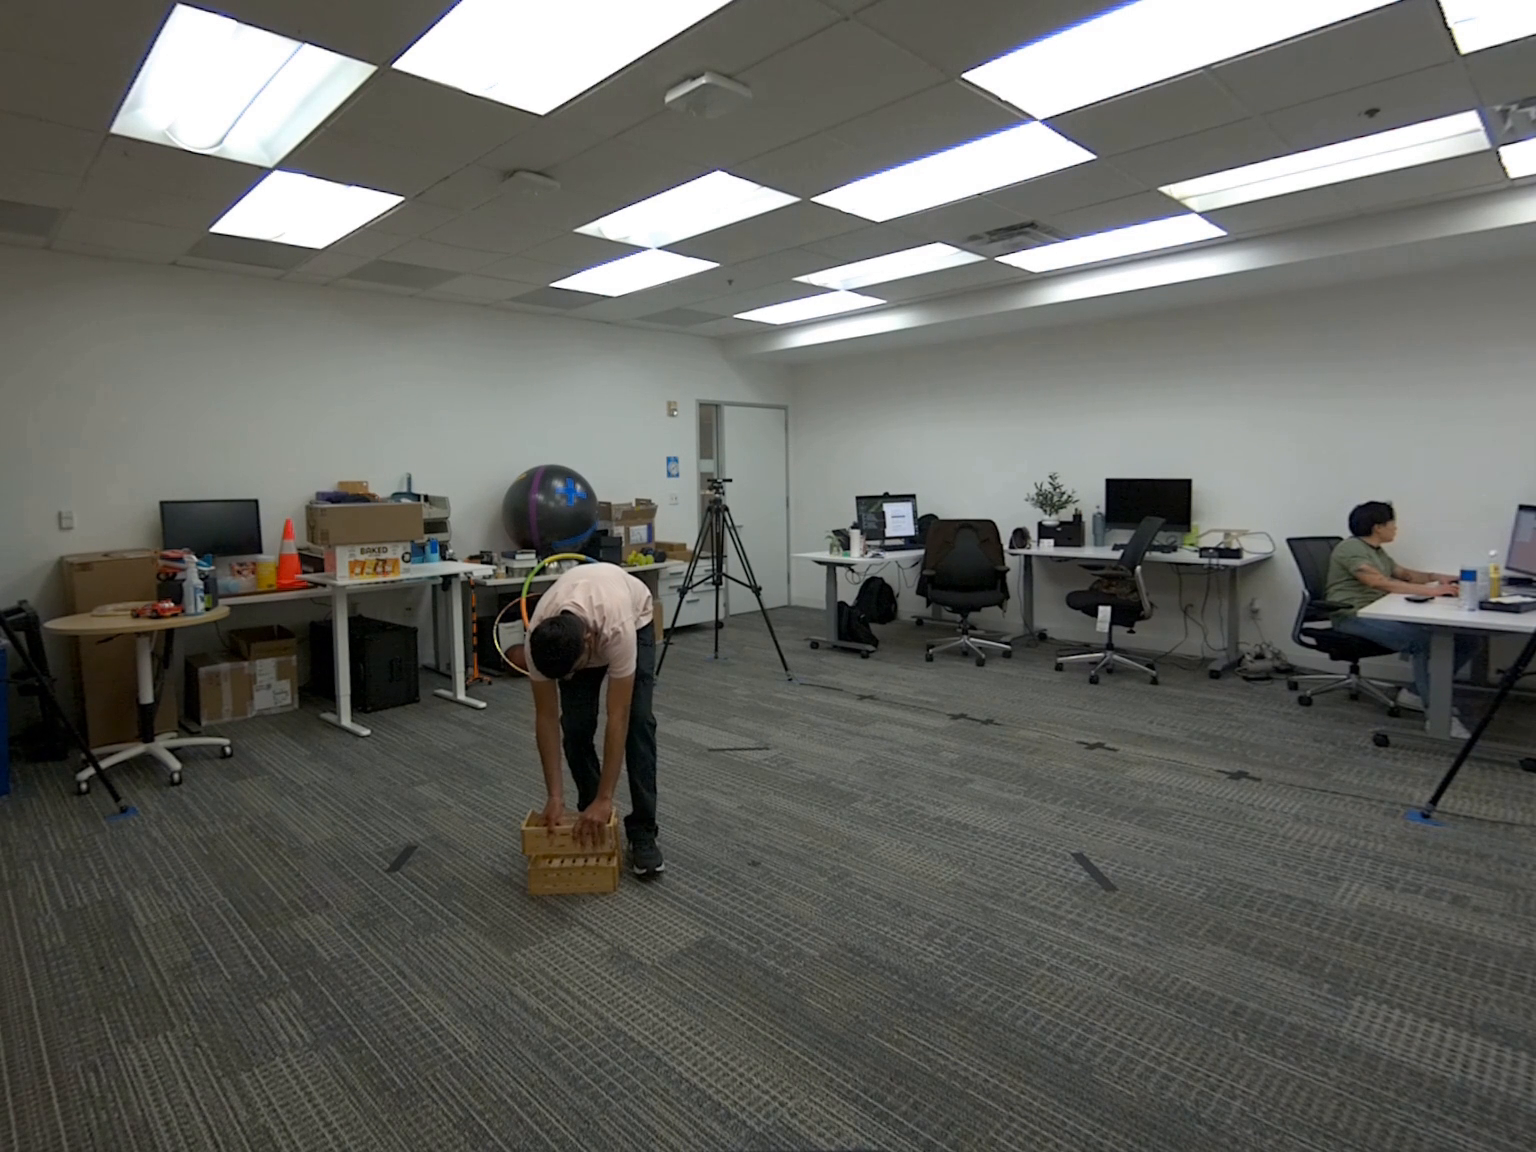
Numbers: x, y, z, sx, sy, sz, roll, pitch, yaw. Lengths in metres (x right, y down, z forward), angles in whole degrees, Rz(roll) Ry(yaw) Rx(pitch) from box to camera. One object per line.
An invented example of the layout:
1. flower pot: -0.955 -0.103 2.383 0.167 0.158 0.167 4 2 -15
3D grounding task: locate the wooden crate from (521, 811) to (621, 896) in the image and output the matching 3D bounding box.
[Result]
1. wooden crate: -0.683 0.938 2.988 0.324 0.271 0.305 -1 9 -2
